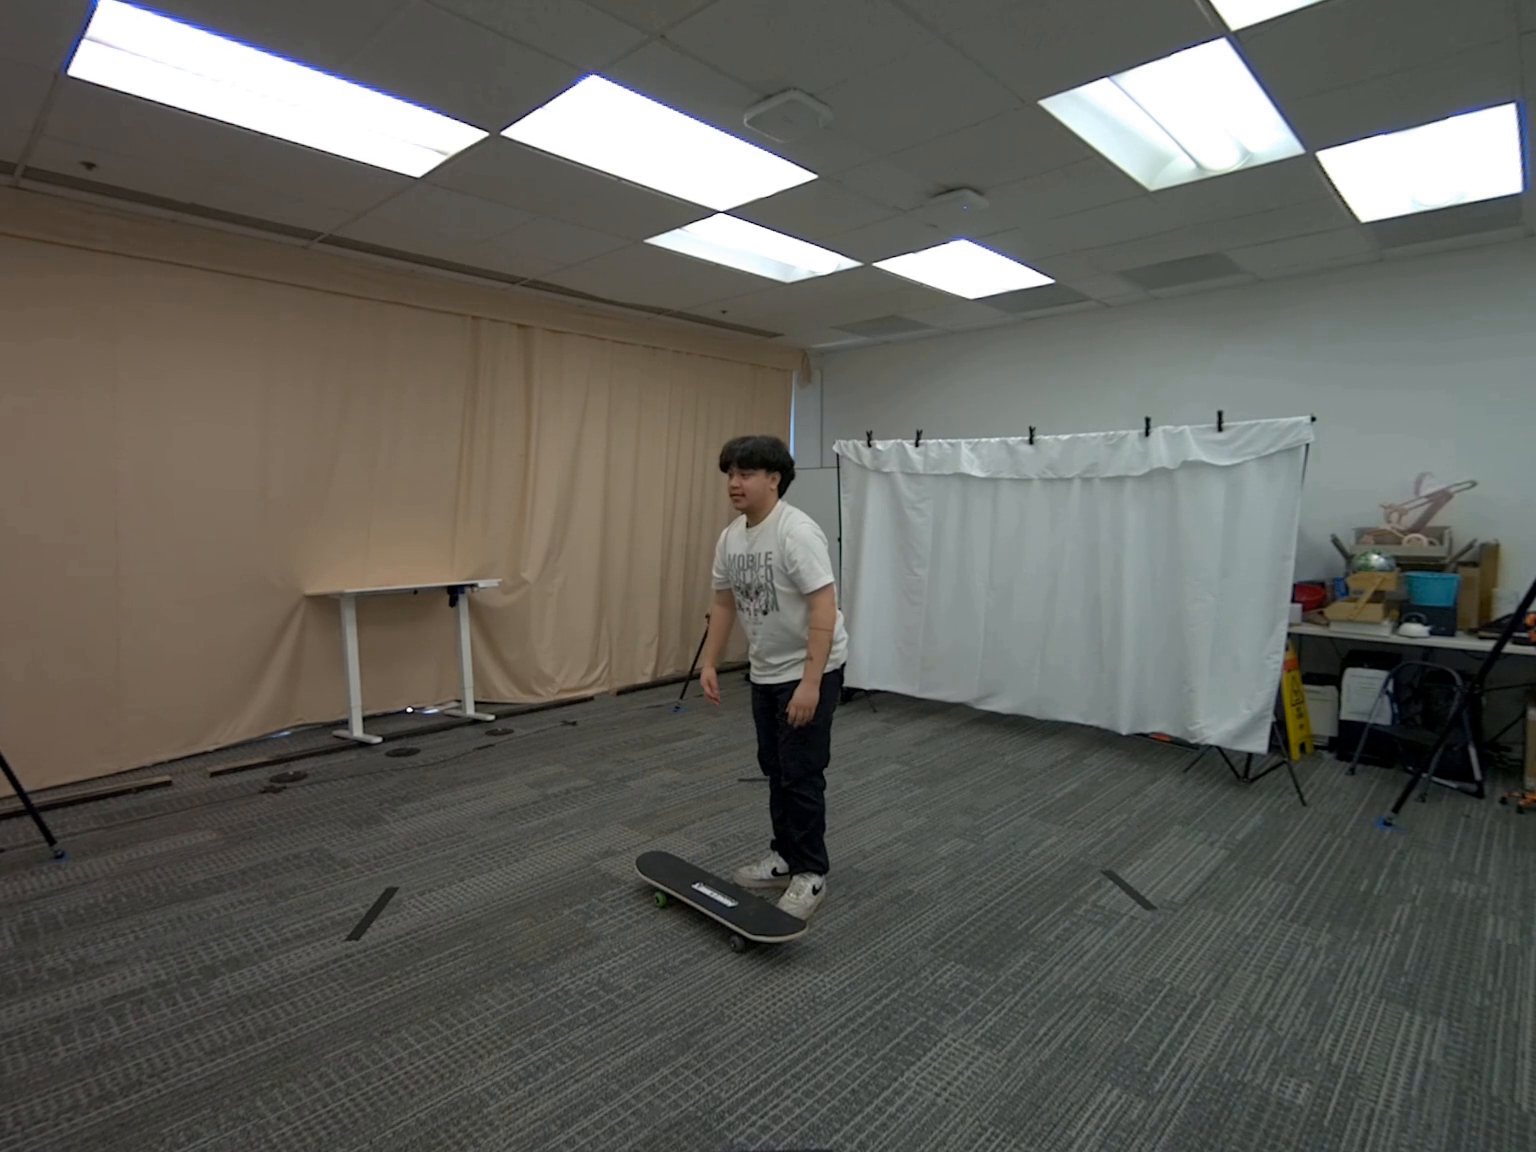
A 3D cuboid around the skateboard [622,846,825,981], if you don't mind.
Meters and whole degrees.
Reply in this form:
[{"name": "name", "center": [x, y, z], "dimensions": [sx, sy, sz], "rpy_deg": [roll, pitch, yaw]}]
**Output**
[{"name": "skateboard", "center": [-0.177, 1.097, 2.827], "dimensions": [0.187, 0.110, 0.812], "rpy_deg": [-5, 6, -43]}]
